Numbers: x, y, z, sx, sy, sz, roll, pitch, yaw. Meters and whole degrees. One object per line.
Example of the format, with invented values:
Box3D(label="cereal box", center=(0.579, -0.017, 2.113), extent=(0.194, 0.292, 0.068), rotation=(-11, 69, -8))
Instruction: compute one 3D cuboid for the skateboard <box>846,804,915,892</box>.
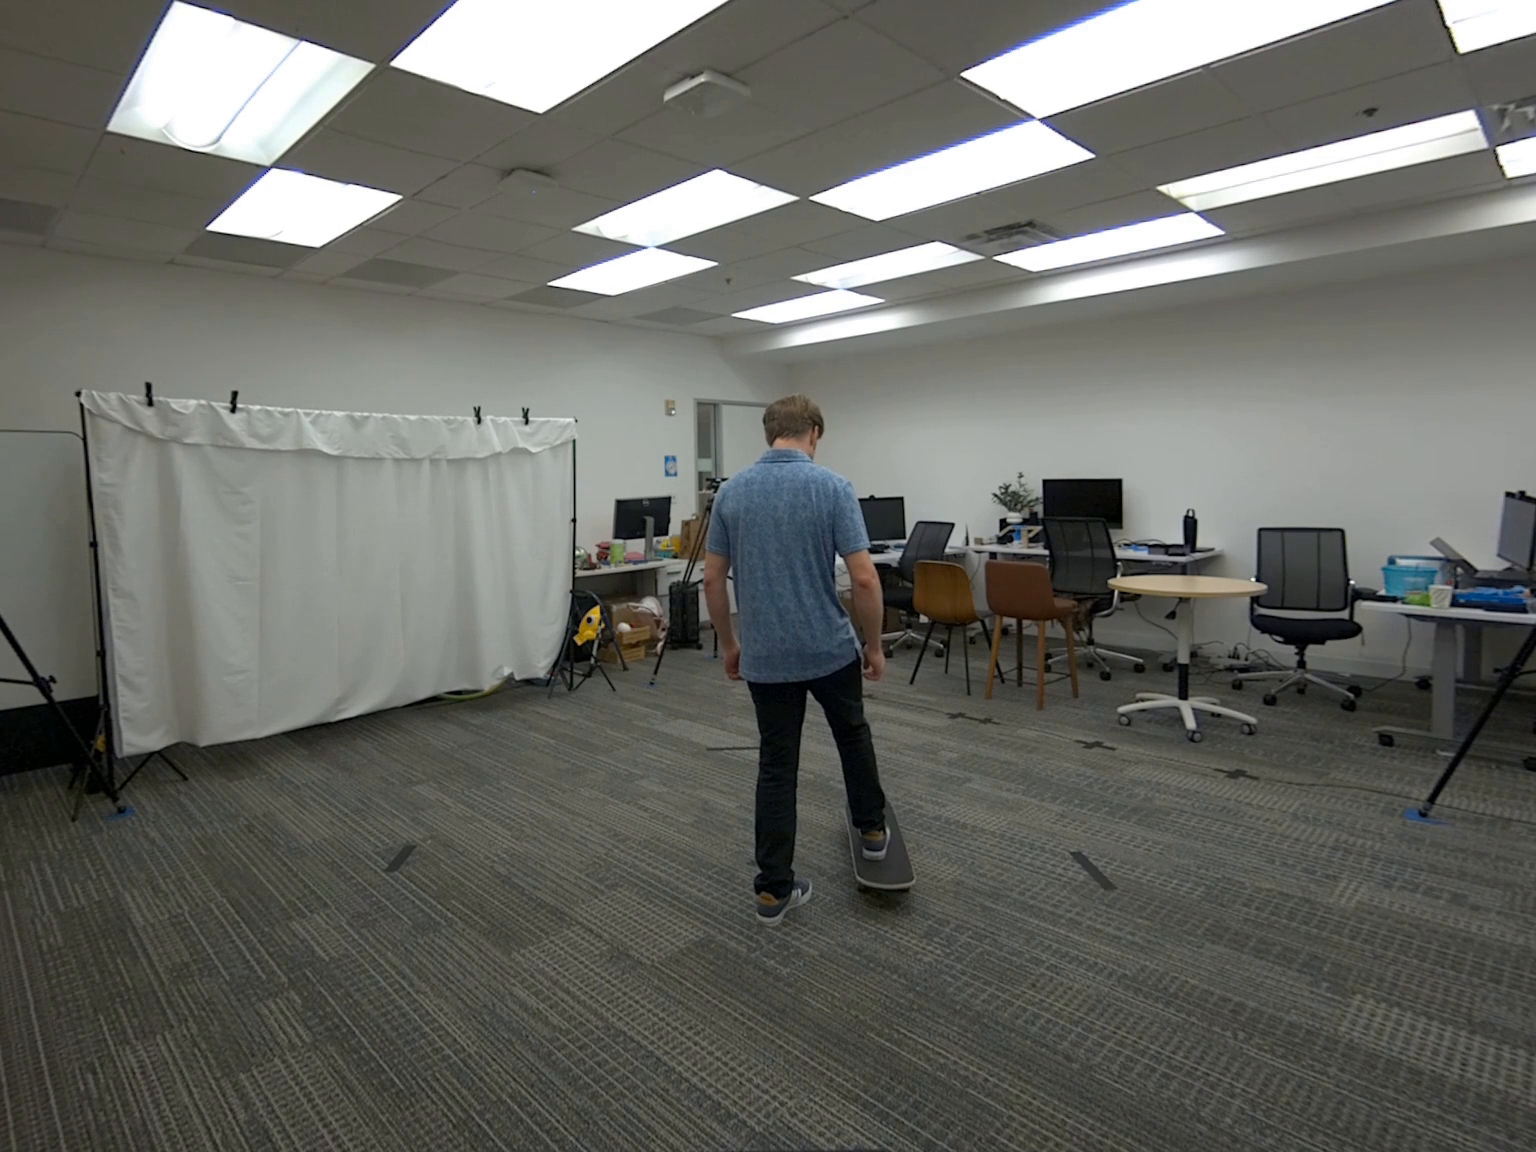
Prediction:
Box3D(label="skateboard", center=(0.393, 0.980, 3.083), extent=(0.194, 0.110, 0.787), rotation=(-2, 6, 1))
